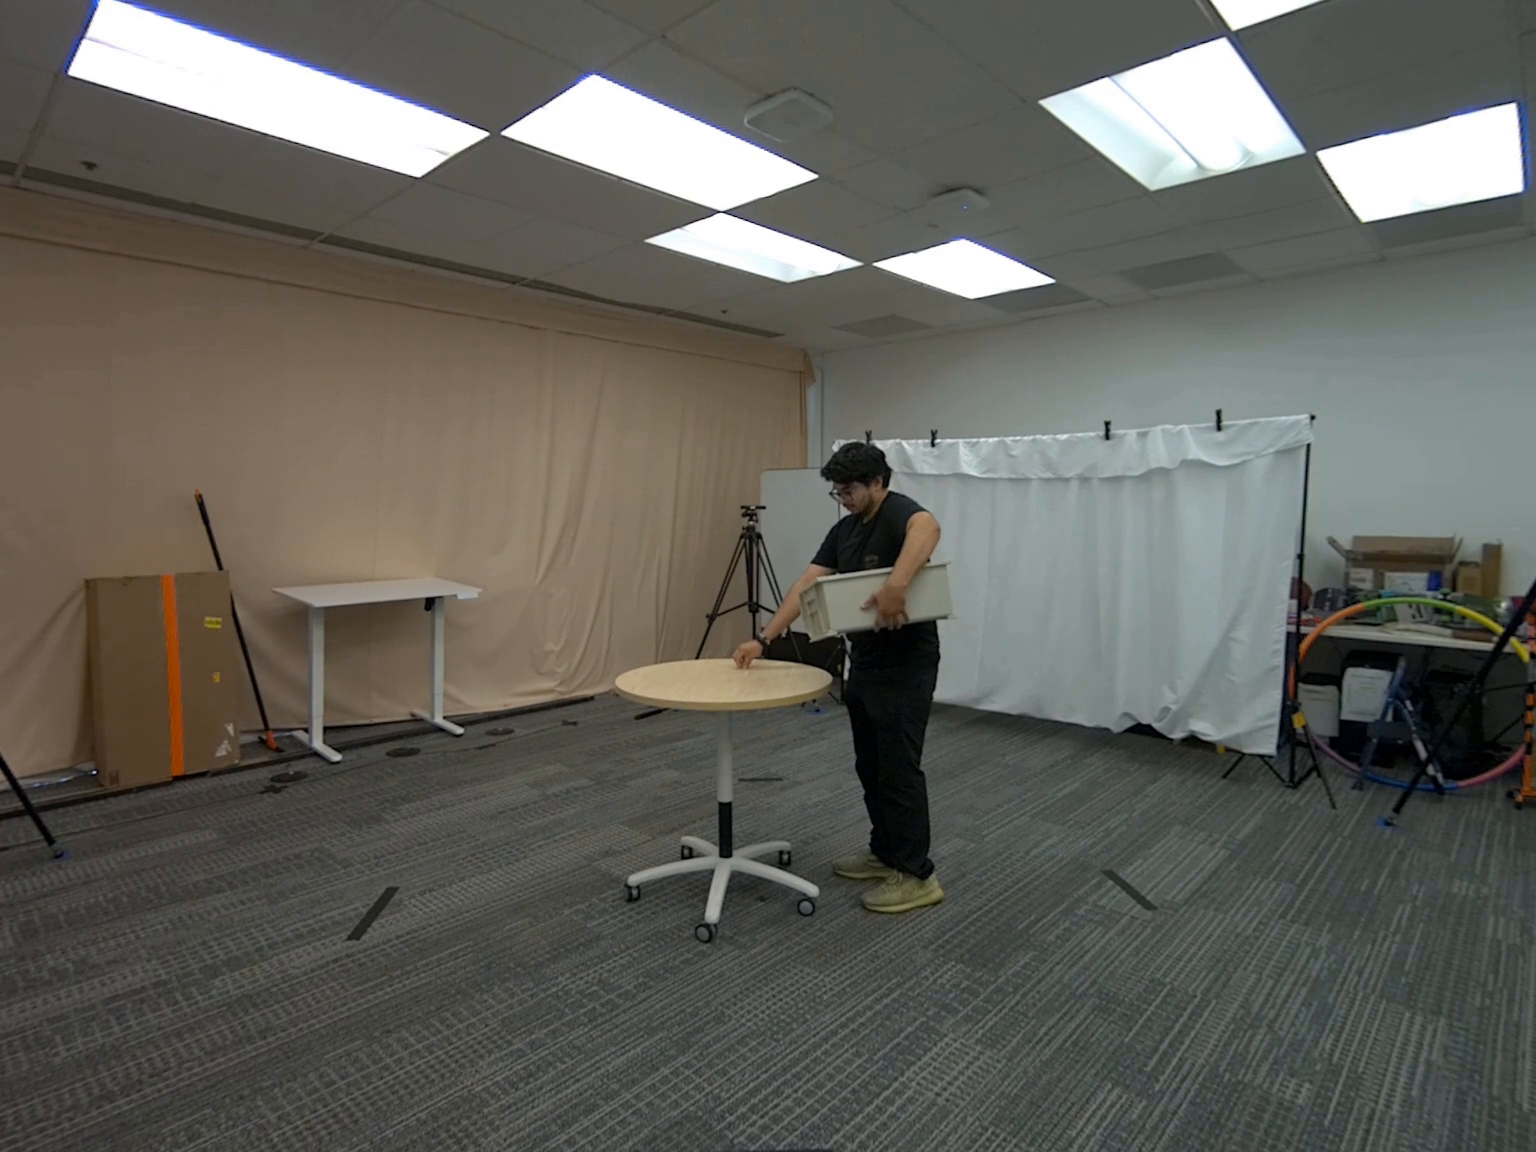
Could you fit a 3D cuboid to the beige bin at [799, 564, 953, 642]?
[{"bbox_3d":[0.348,0.091,2.730,0.420,0.190,0.378,-8,-5,-7],"label":"beige bin"}]
